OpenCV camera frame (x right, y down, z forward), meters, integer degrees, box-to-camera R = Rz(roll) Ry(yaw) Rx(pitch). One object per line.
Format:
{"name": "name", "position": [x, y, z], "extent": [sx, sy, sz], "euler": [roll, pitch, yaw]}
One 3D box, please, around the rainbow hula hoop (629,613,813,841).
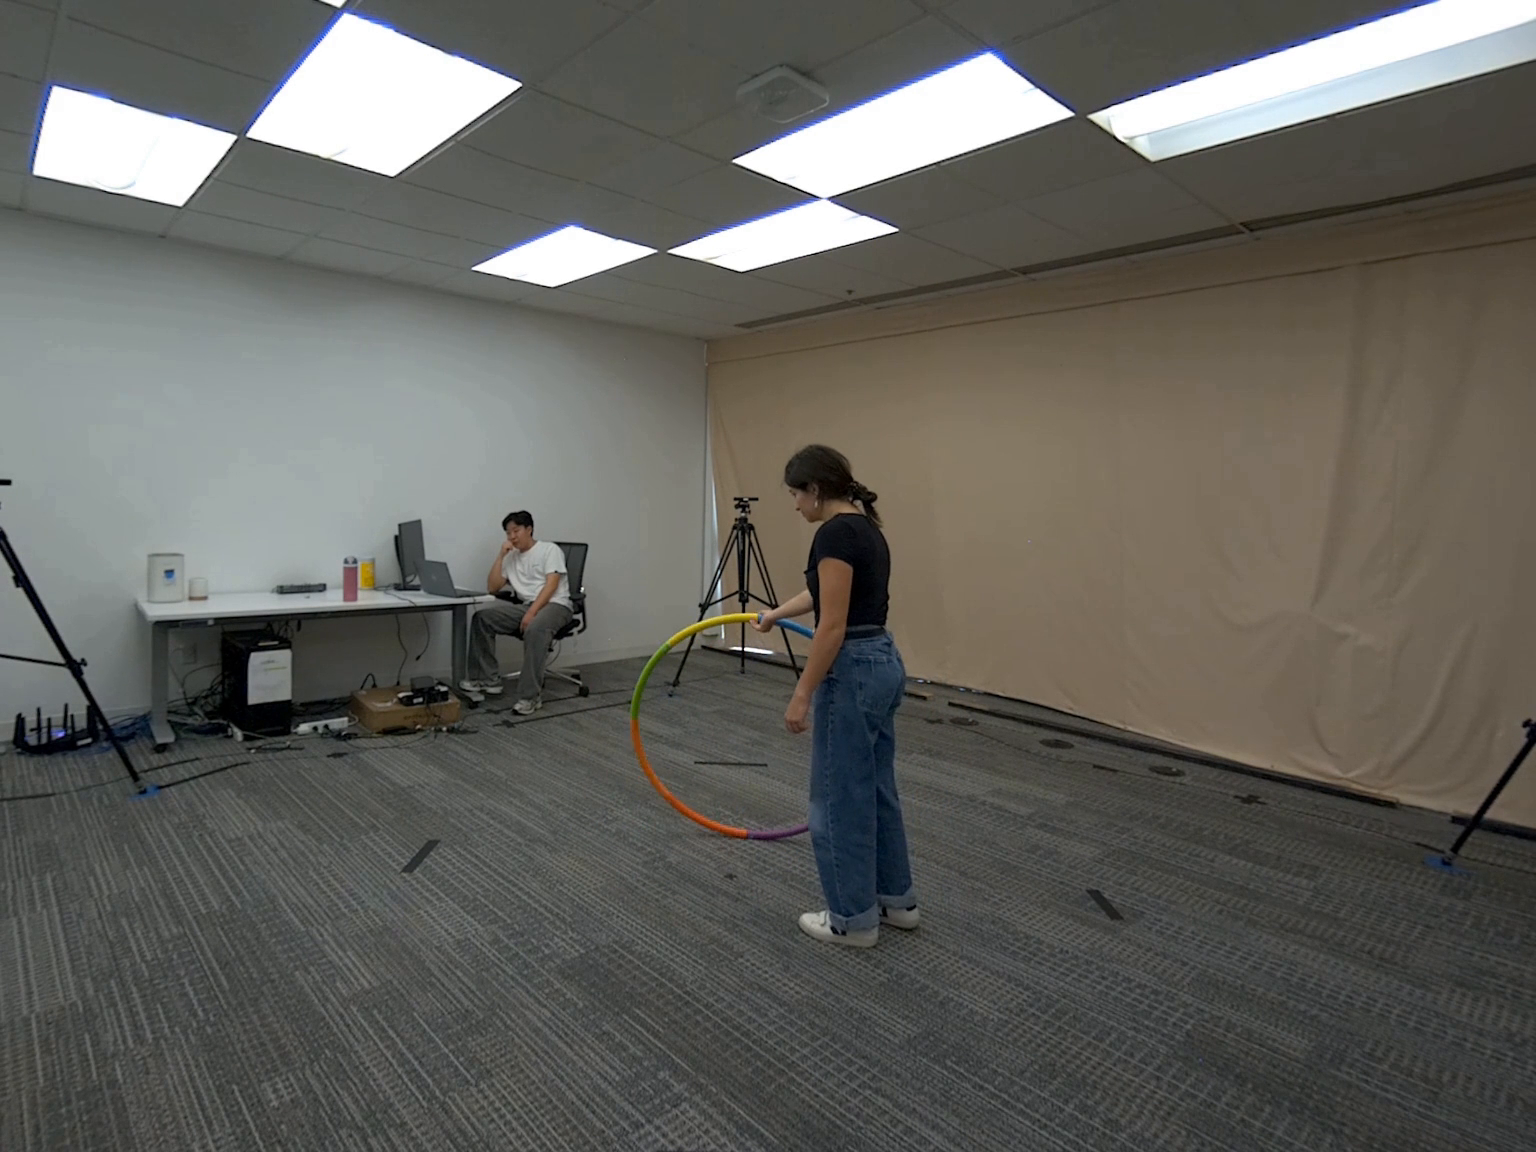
{"name": "rainbow hula hoop", "position": [-0.073, 0.618, 3.327], "extent": [0.984, 0.966, 0.036], "euler": [2, 17, 7]}
